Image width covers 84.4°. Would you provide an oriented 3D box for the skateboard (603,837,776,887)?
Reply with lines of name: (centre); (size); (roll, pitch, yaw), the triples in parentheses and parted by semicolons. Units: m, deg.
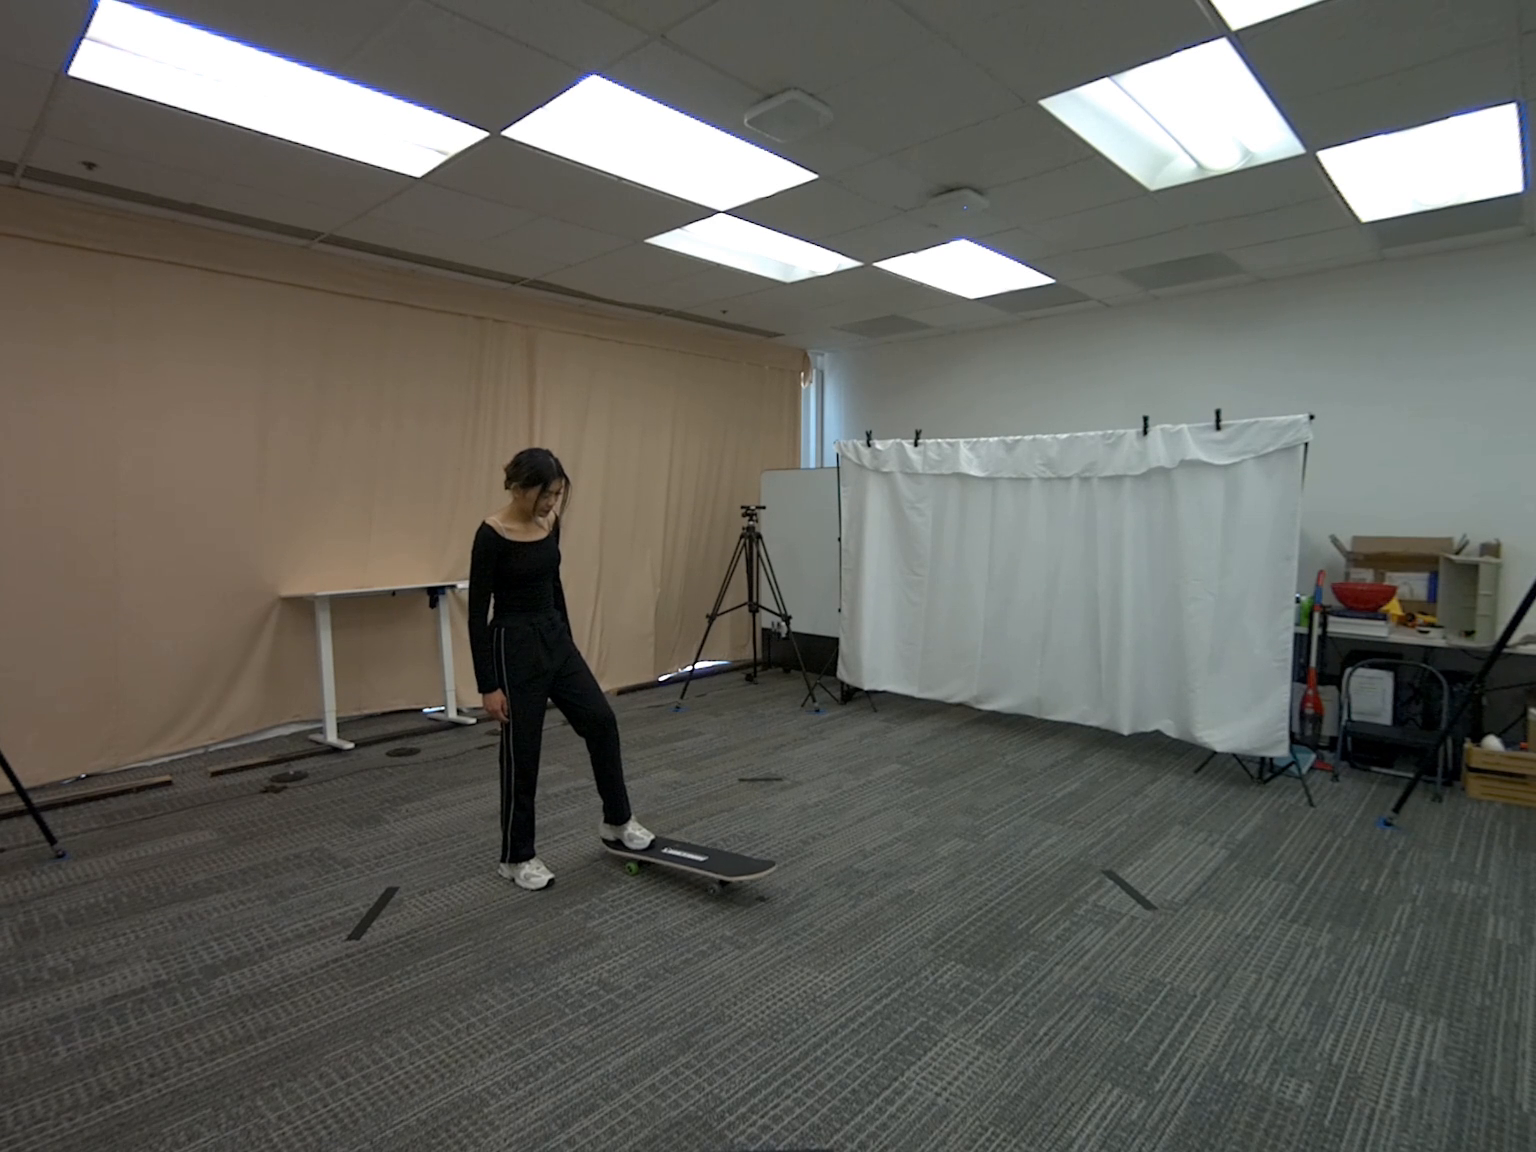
skateboard: (-0.305, 1.066, 3.129); (0.808, 0.110, 0.188); (-3, 2, 35)
